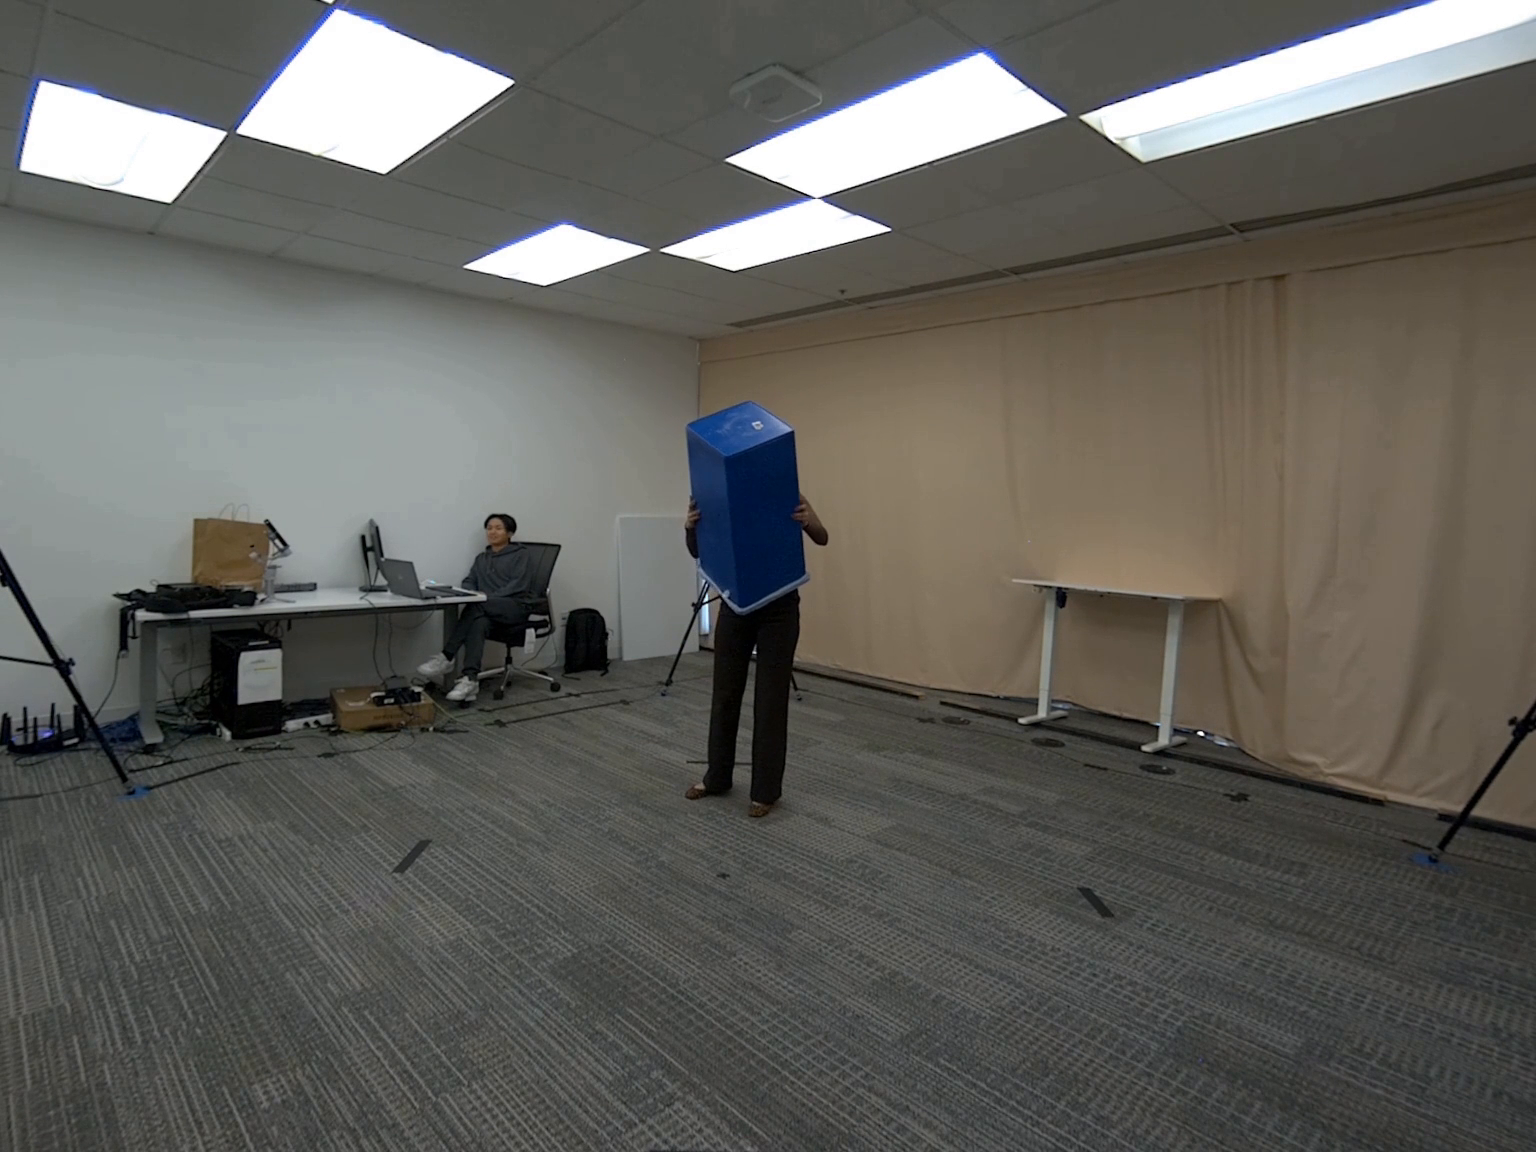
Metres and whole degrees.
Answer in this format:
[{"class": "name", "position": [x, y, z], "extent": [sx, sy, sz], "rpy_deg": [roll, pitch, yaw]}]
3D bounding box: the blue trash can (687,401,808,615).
[{"class": "blue trash can", "position": [-0.086, -0.272, 3.318], "extent": [0.370, 0.697, 0.390], "rpy_deg": [-24, 42, -23]}]
